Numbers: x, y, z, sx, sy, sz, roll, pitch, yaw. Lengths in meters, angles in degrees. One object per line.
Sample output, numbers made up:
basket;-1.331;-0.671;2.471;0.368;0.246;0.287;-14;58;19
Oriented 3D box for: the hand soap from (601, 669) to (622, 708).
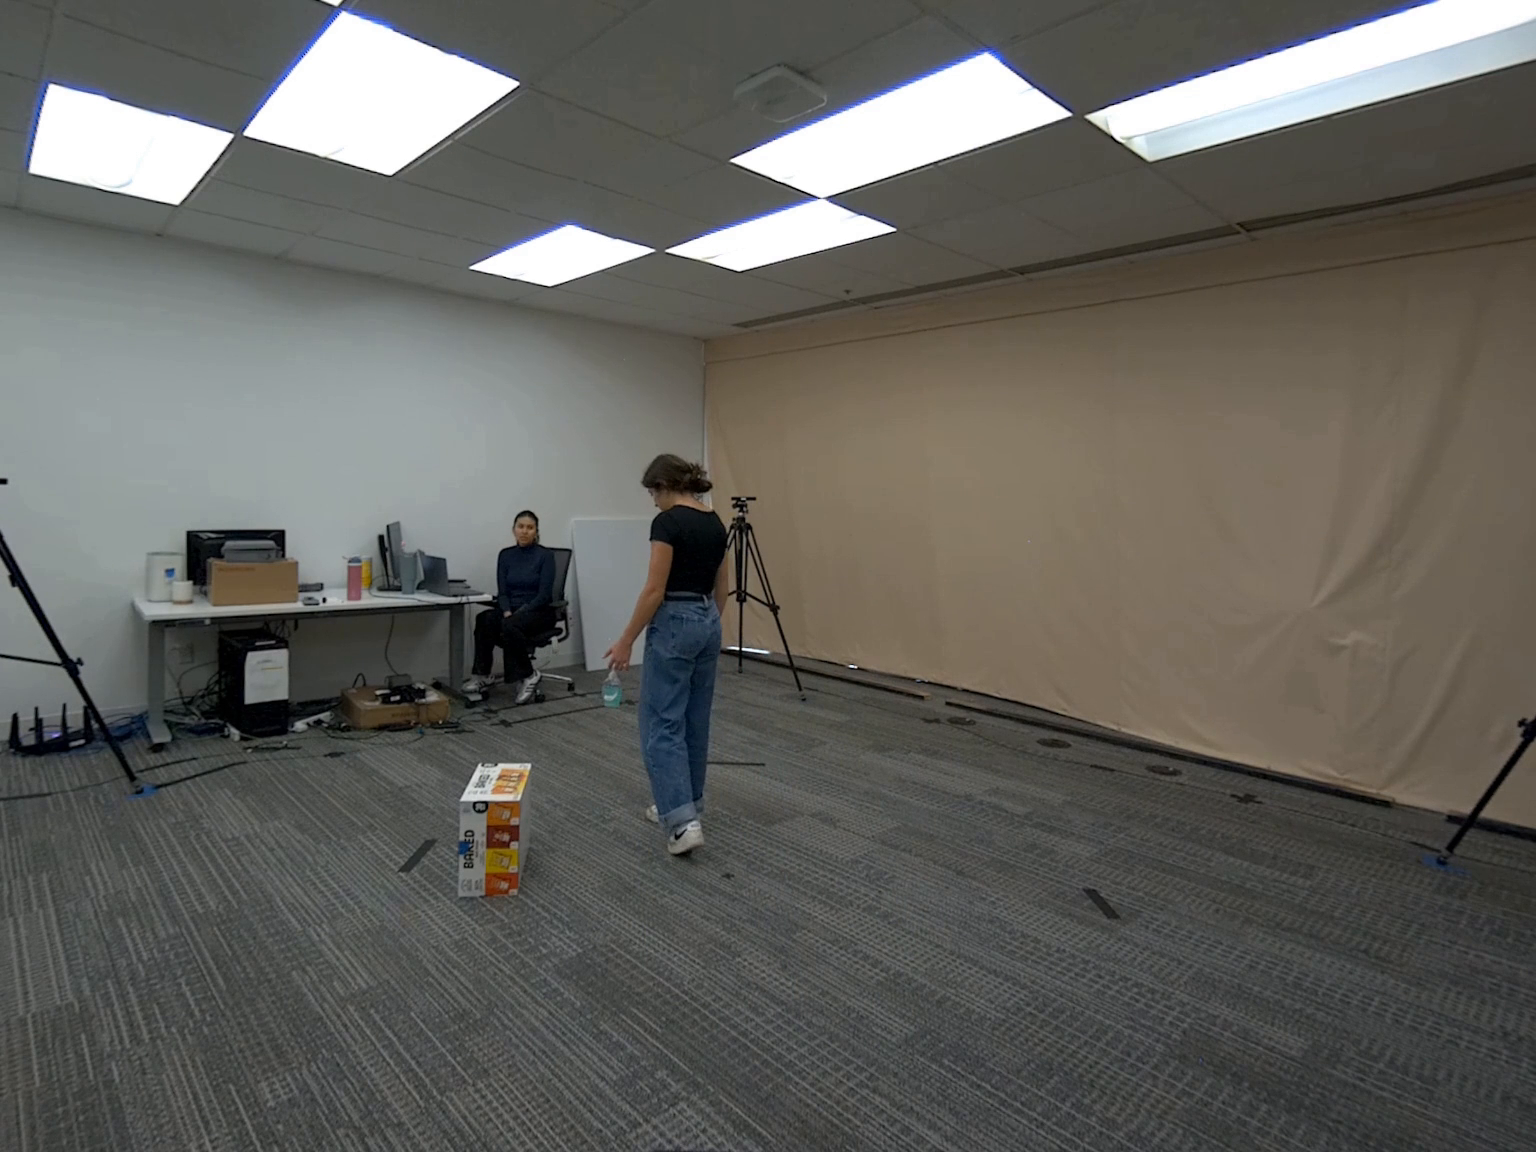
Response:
hand soap;-0.629;0.439;3.381;0.085;0.168;0.043;3;-1;12
